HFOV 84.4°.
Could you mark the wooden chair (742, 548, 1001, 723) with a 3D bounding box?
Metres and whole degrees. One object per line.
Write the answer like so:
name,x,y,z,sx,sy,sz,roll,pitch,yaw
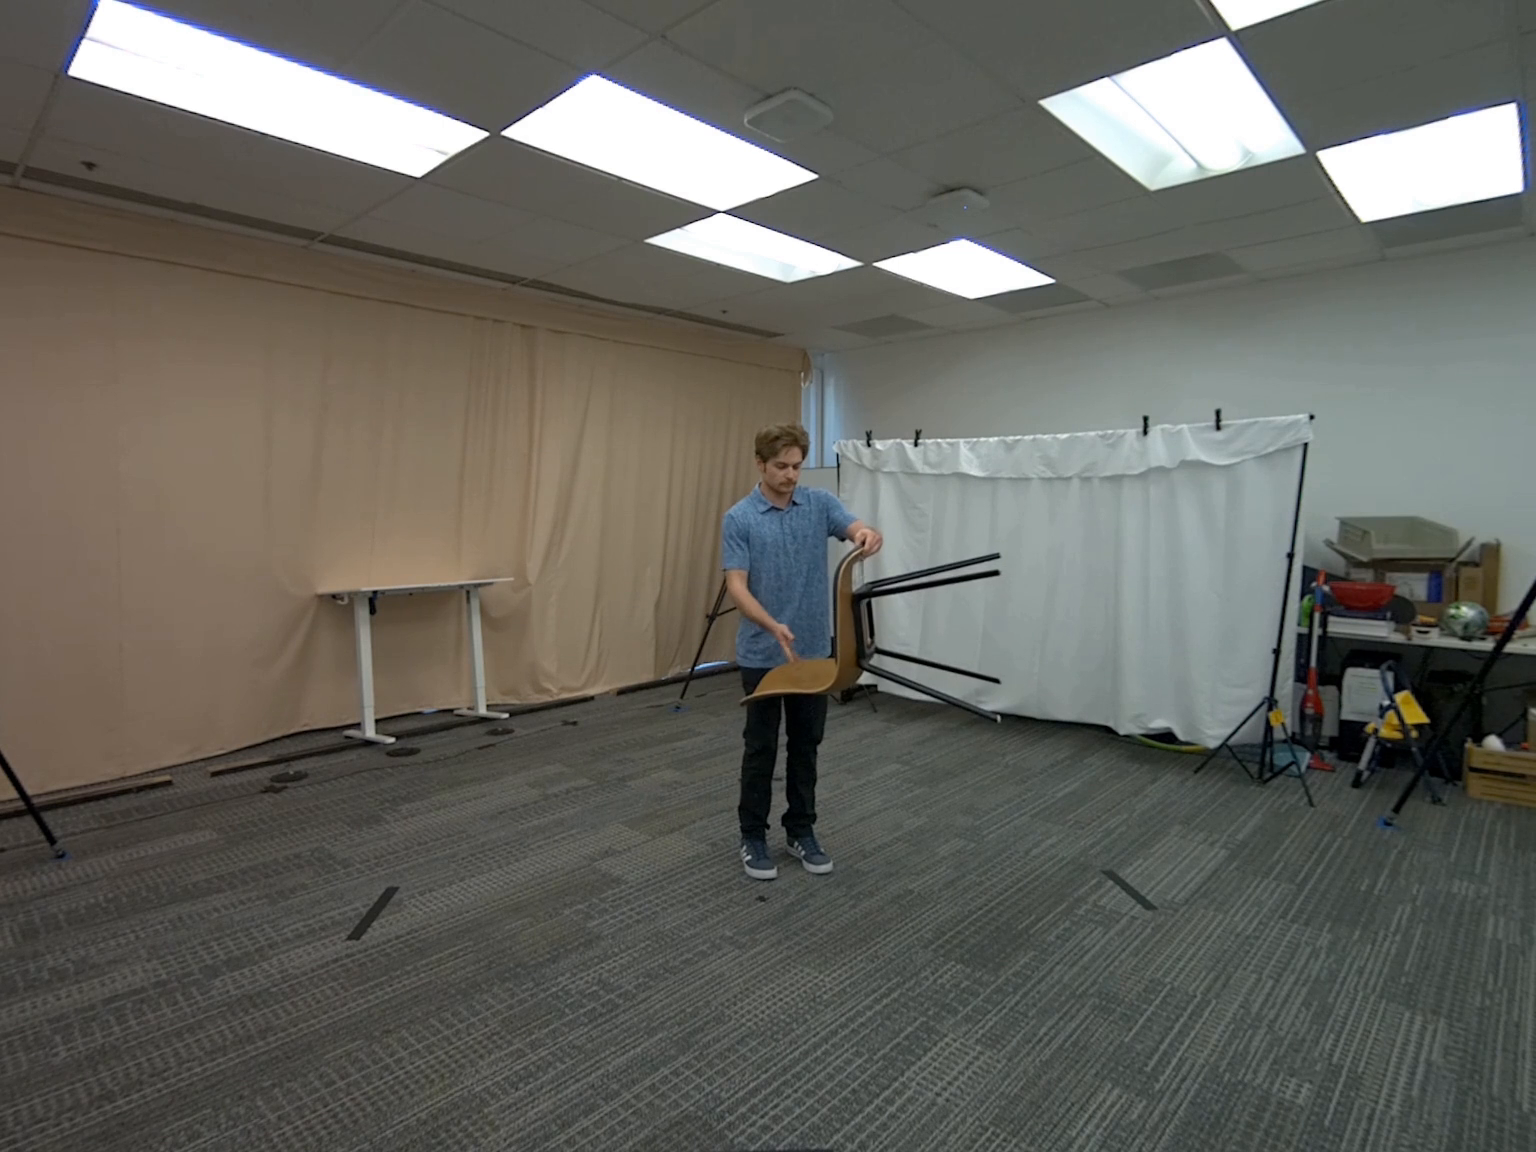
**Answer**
wooden chair,0.320,0.168,2.818,0.894,0.521,0.471,-3,5,18
